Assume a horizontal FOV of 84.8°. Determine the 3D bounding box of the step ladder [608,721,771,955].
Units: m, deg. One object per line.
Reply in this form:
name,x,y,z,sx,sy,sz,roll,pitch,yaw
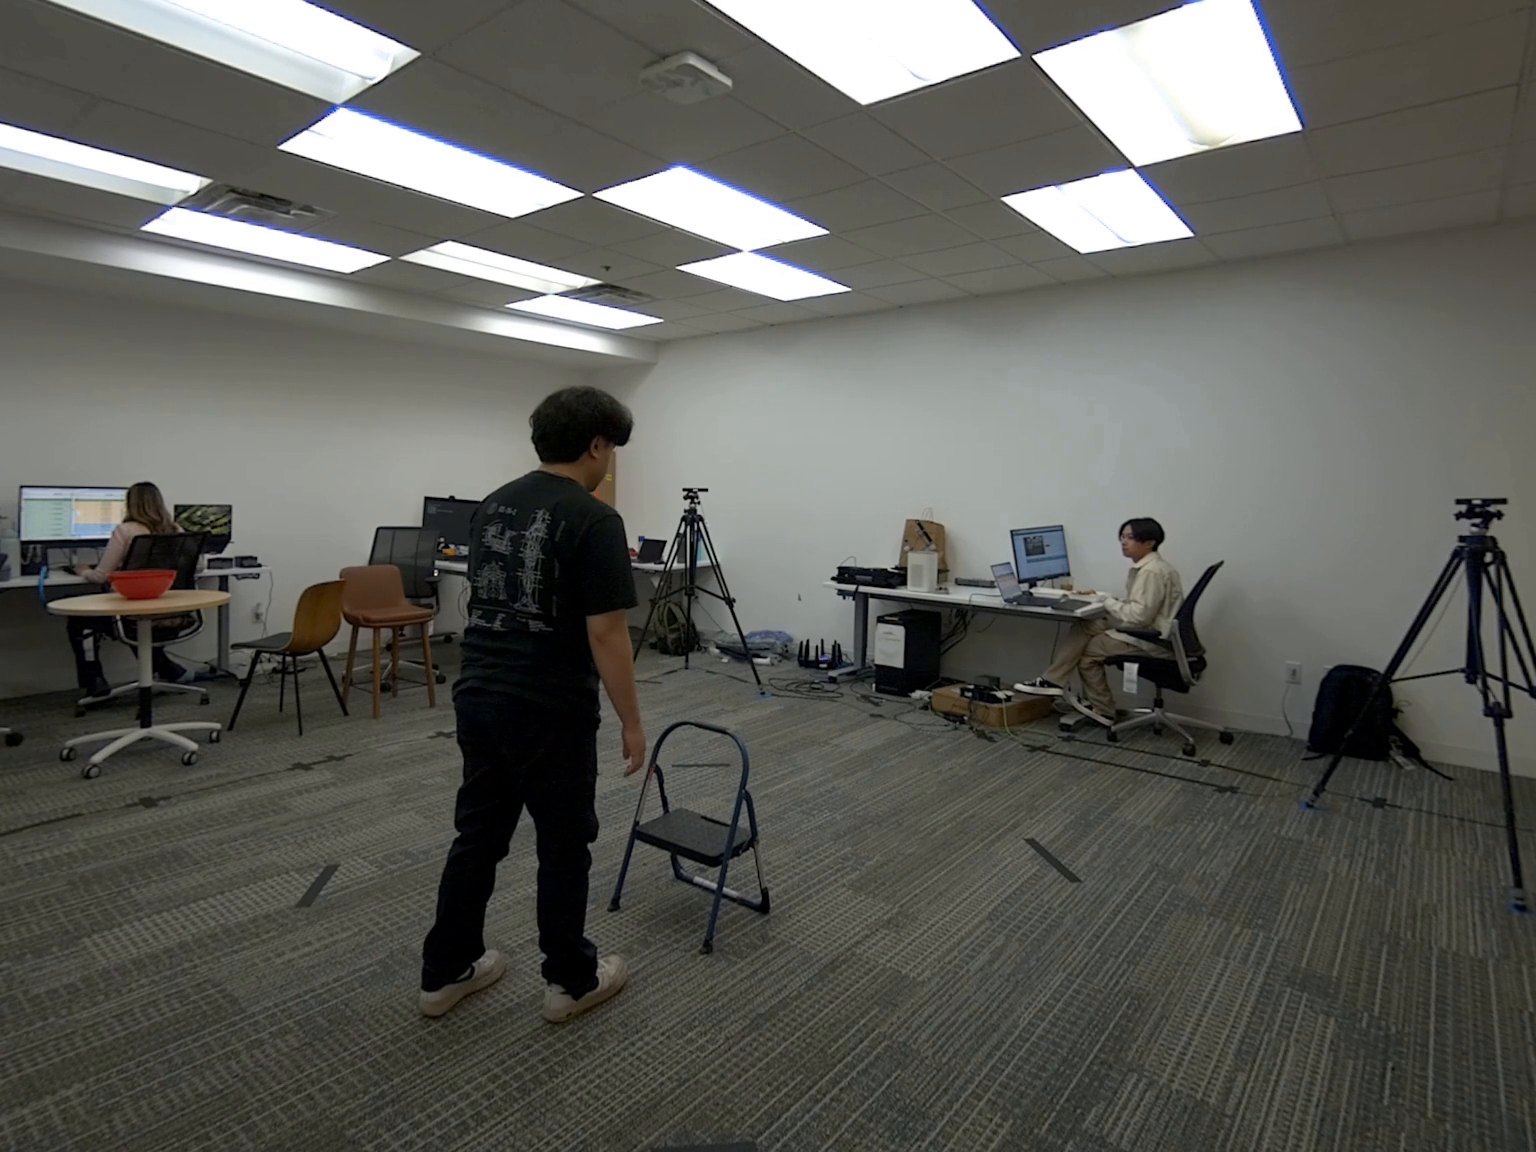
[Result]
step ladder,-0.256,0.797,2.782,0.445,0.604,0.339,4,5,37
